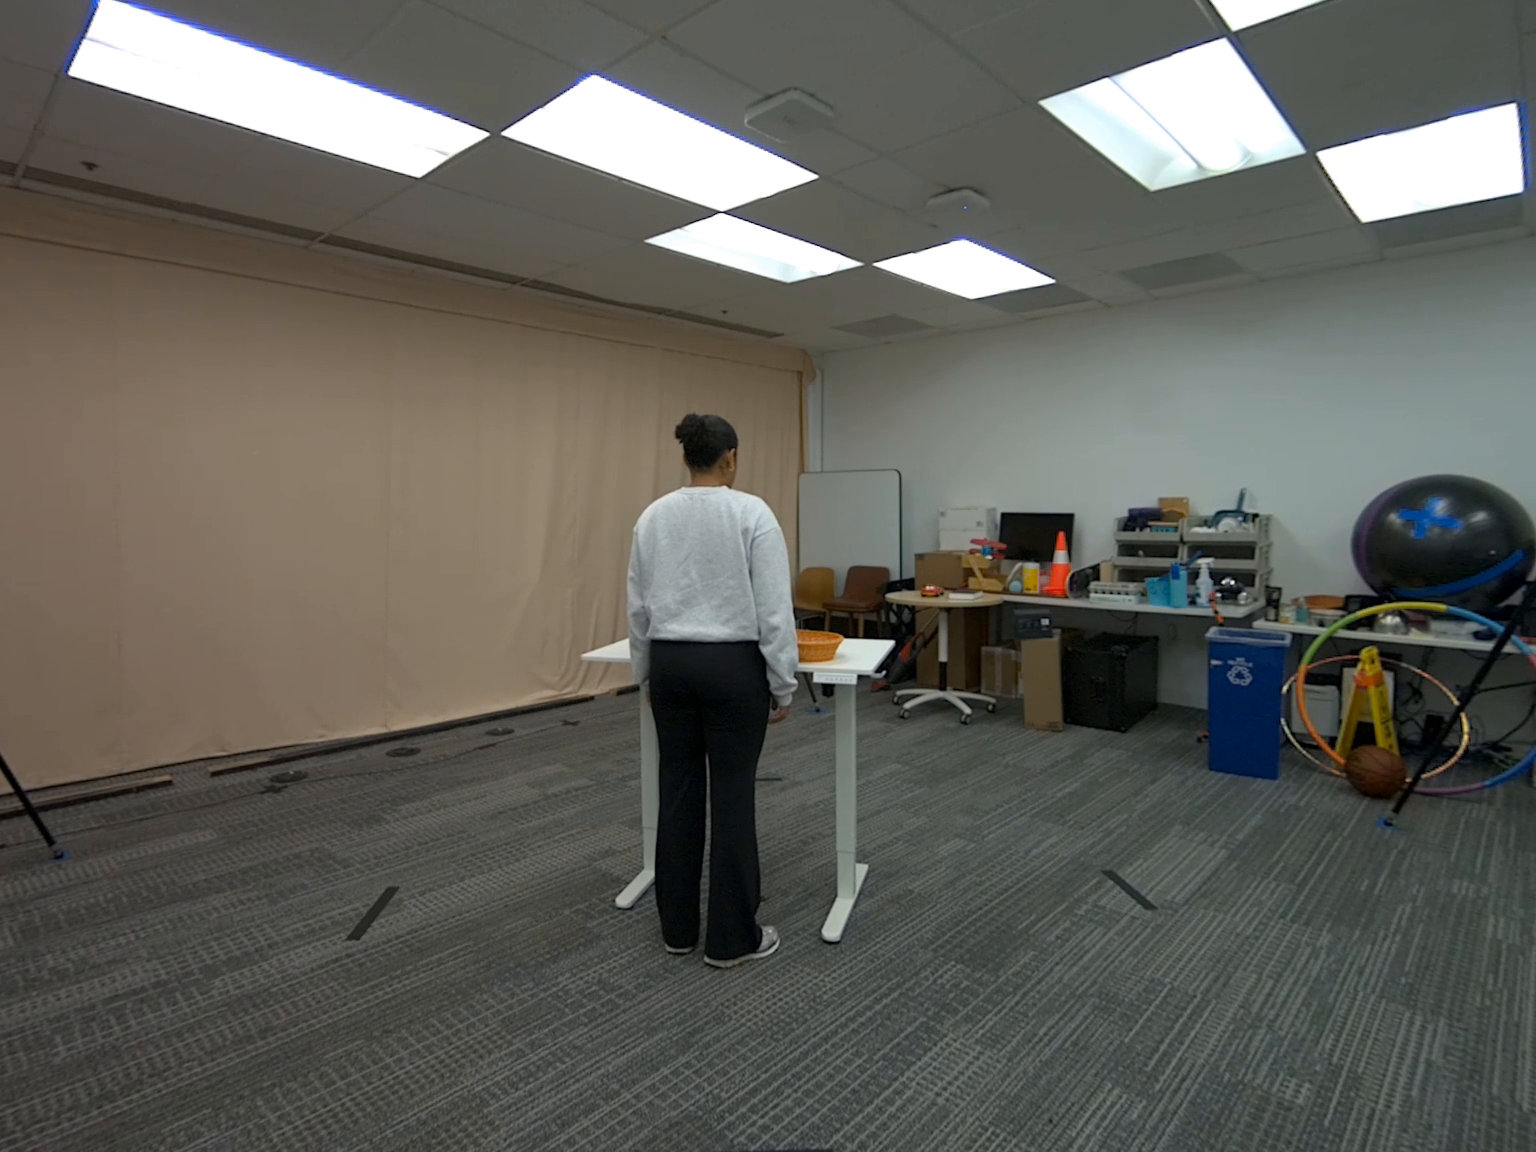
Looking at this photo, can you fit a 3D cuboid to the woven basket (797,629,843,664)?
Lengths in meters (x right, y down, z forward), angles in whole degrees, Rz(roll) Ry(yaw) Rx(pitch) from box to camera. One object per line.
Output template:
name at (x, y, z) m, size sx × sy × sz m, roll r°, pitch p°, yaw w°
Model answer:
woven basket at (0.088, 0.244, 2.824) m, size 0.361 × 0.073 × 0.245 m, roll 2°, pitch 5°, yaw 31°
